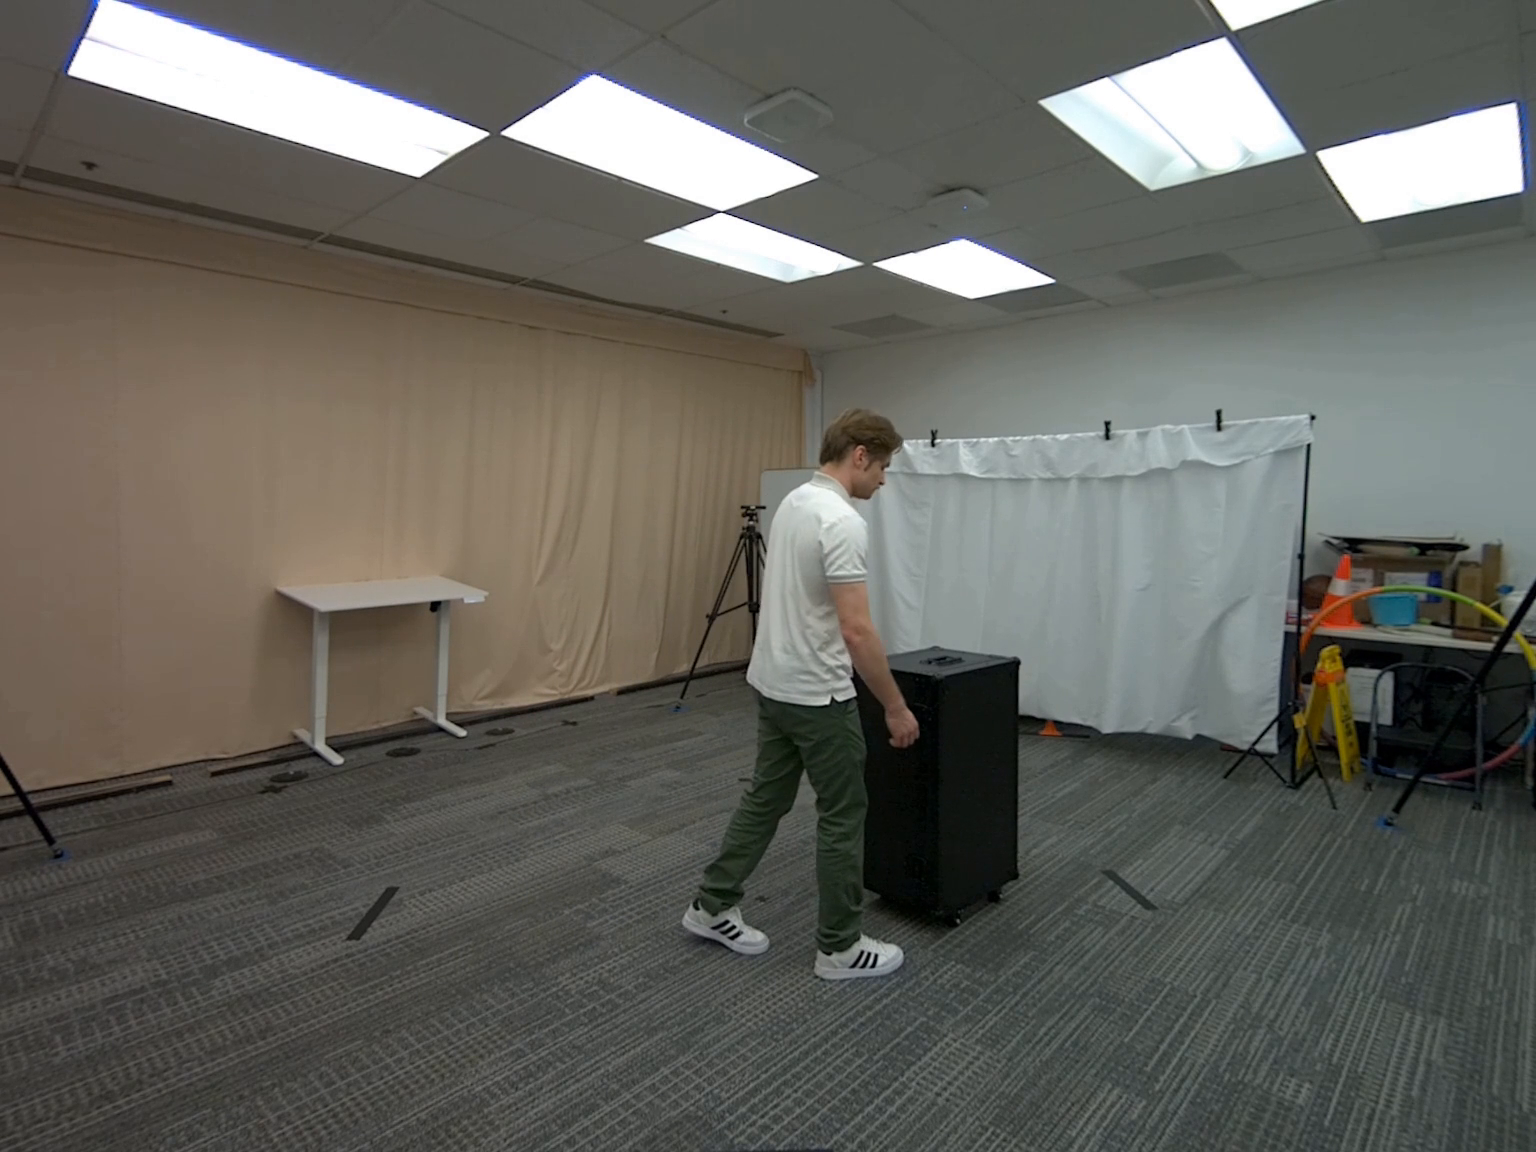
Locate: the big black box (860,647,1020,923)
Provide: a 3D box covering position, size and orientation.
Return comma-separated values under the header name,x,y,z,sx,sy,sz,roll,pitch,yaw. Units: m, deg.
name,x,y,z,sx,sy,sz,roll,pitch,yaw
big black box,0.590,0.720,2.955,0.505,0.860,0.409,-3,3,-42
